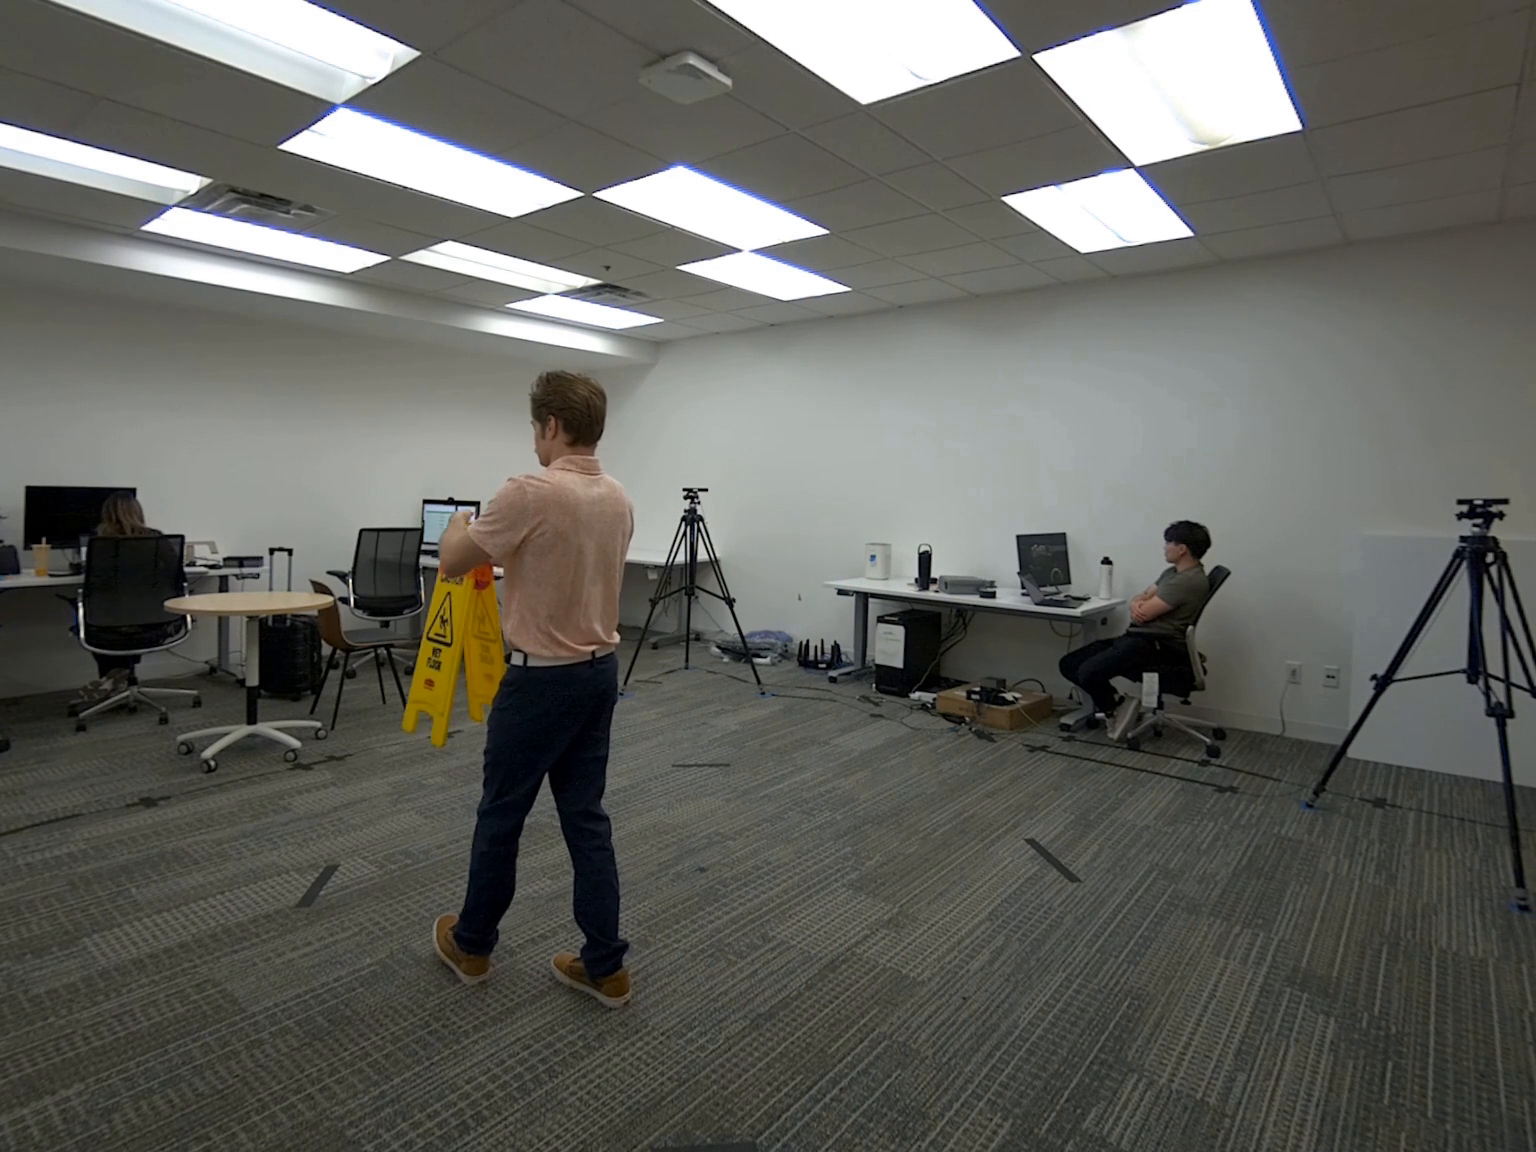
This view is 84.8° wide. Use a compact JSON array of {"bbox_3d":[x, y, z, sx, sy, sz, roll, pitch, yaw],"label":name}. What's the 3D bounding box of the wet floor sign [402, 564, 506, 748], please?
[{"bbox_3d":[-0.954,0.158,2.613,0.291,0.646,0.280,1,0,45],"label":"wet floor sign"}]
